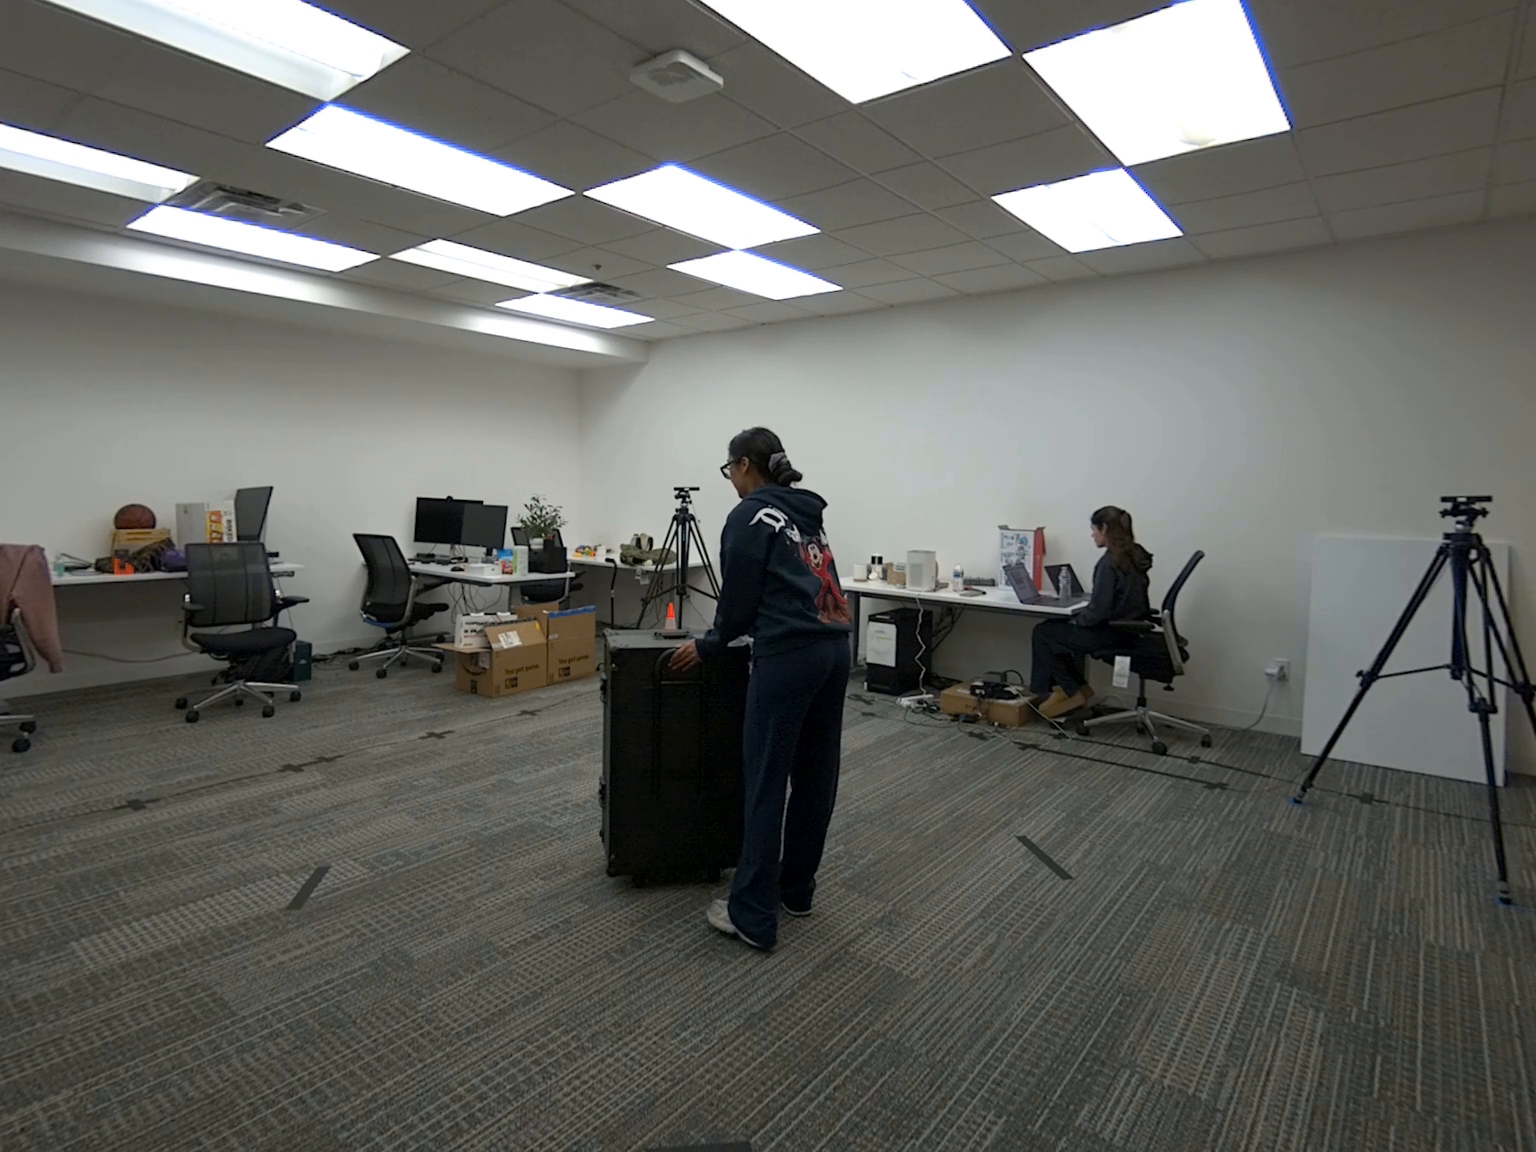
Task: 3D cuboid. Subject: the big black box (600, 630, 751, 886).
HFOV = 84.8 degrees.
[{"bbox_3d":[-0.355,0.646,3.069,0.515,0.858,0.403,1,4,-12],"label":"big black box"}]
